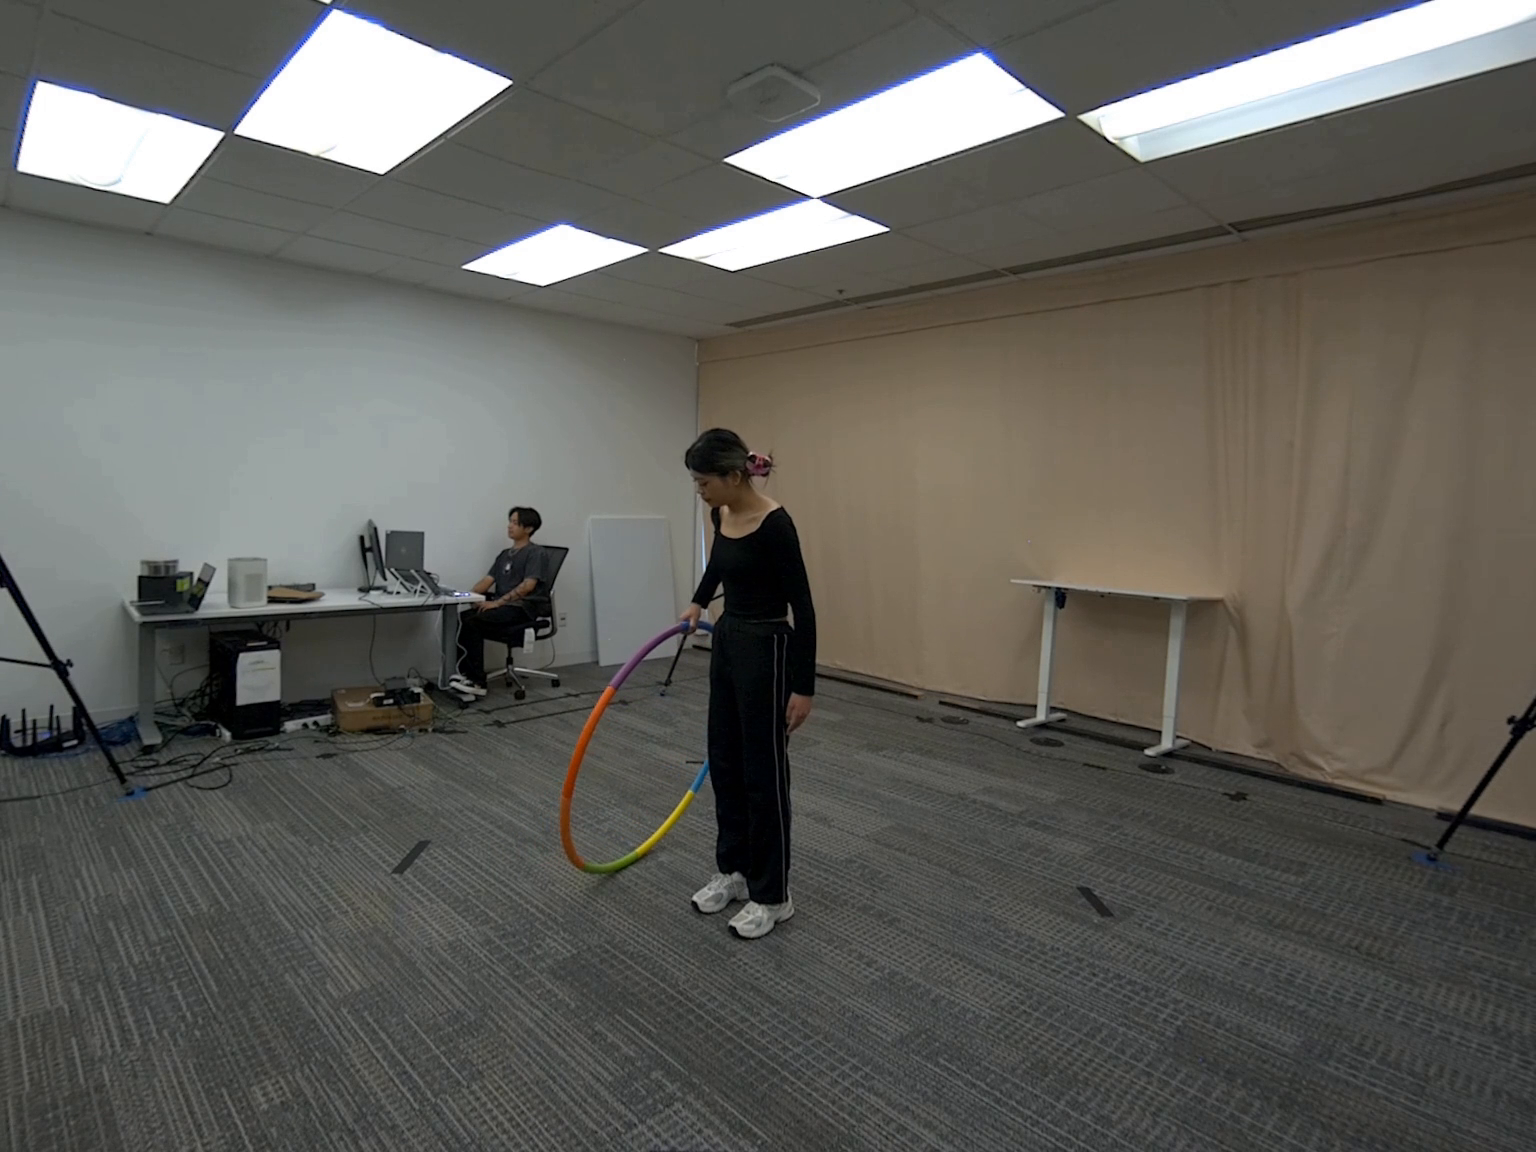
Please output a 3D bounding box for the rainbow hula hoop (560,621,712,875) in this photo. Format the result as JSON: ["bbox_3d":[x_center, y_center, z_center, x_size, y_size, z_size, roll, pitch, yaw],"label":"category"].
[{"bbox_3d":[-0.412,0.623,3.093,0.036,0.973,0.960,22,14,26],"label":"rainbow hula hoop"}]
